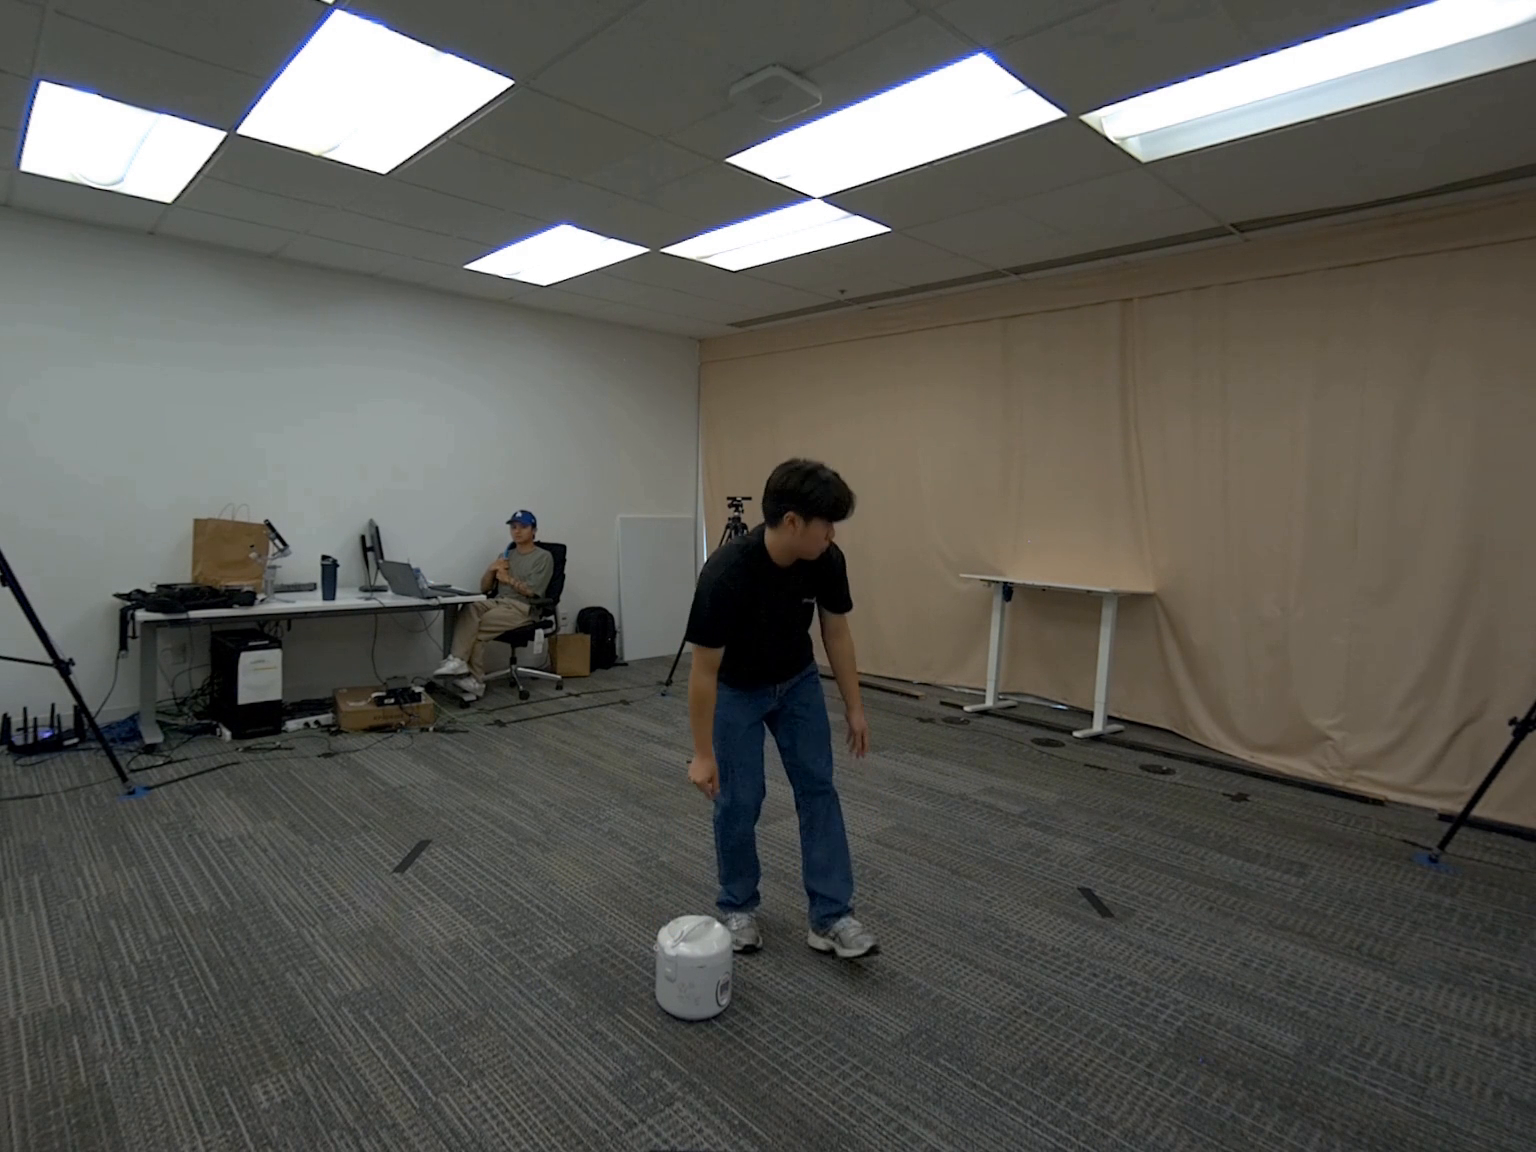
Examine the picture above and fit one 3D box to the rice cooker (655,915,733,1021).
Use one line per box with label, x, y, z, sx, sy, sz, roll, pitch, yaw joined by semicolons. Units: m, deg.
rice cooker;-0.205;1.066;2.308;0.223;0.232;0.216;4;5;37
